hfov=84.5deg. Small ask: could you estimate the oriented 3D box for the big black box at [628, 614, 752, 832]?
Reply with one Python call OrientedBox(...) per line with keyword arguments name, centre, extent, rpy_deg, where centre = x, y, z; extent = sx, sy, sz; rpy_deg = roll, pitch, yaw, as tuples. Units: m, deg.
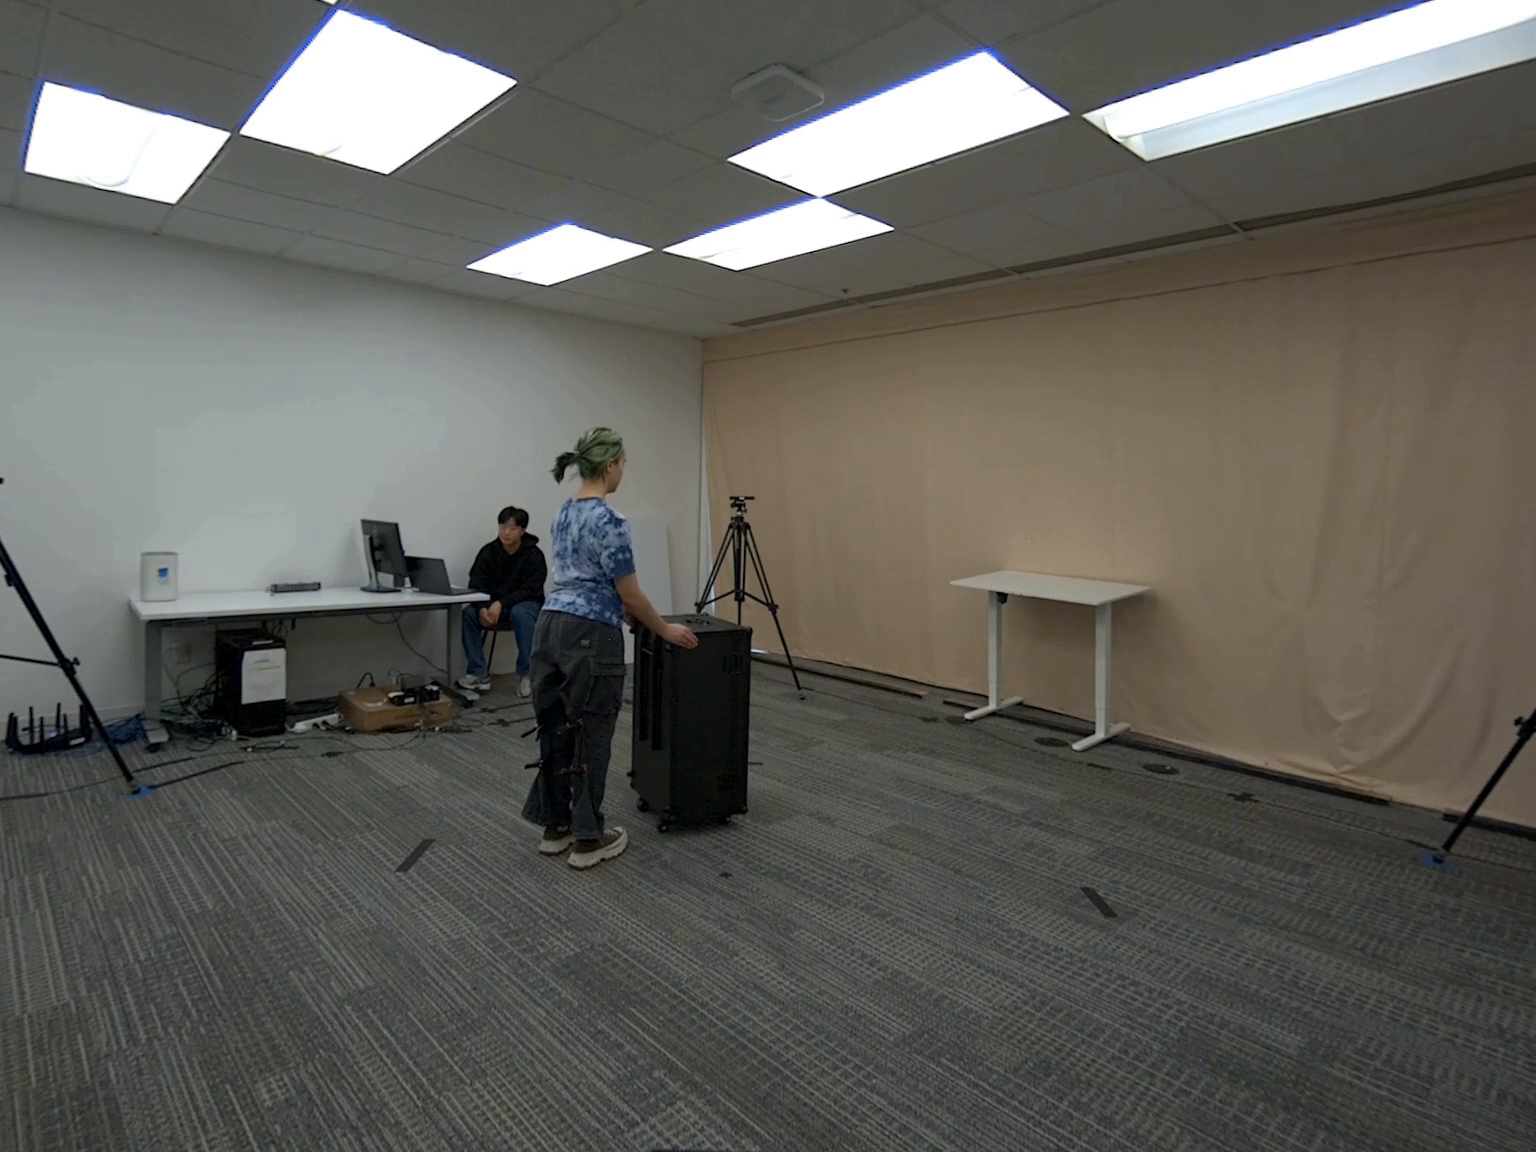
OrientedBox(name="big black box", centre=(-0.360, 0.628, 3.654), extent=(0.389, 0.859, 0.532), rpy_deg=(0, 4, -27))
